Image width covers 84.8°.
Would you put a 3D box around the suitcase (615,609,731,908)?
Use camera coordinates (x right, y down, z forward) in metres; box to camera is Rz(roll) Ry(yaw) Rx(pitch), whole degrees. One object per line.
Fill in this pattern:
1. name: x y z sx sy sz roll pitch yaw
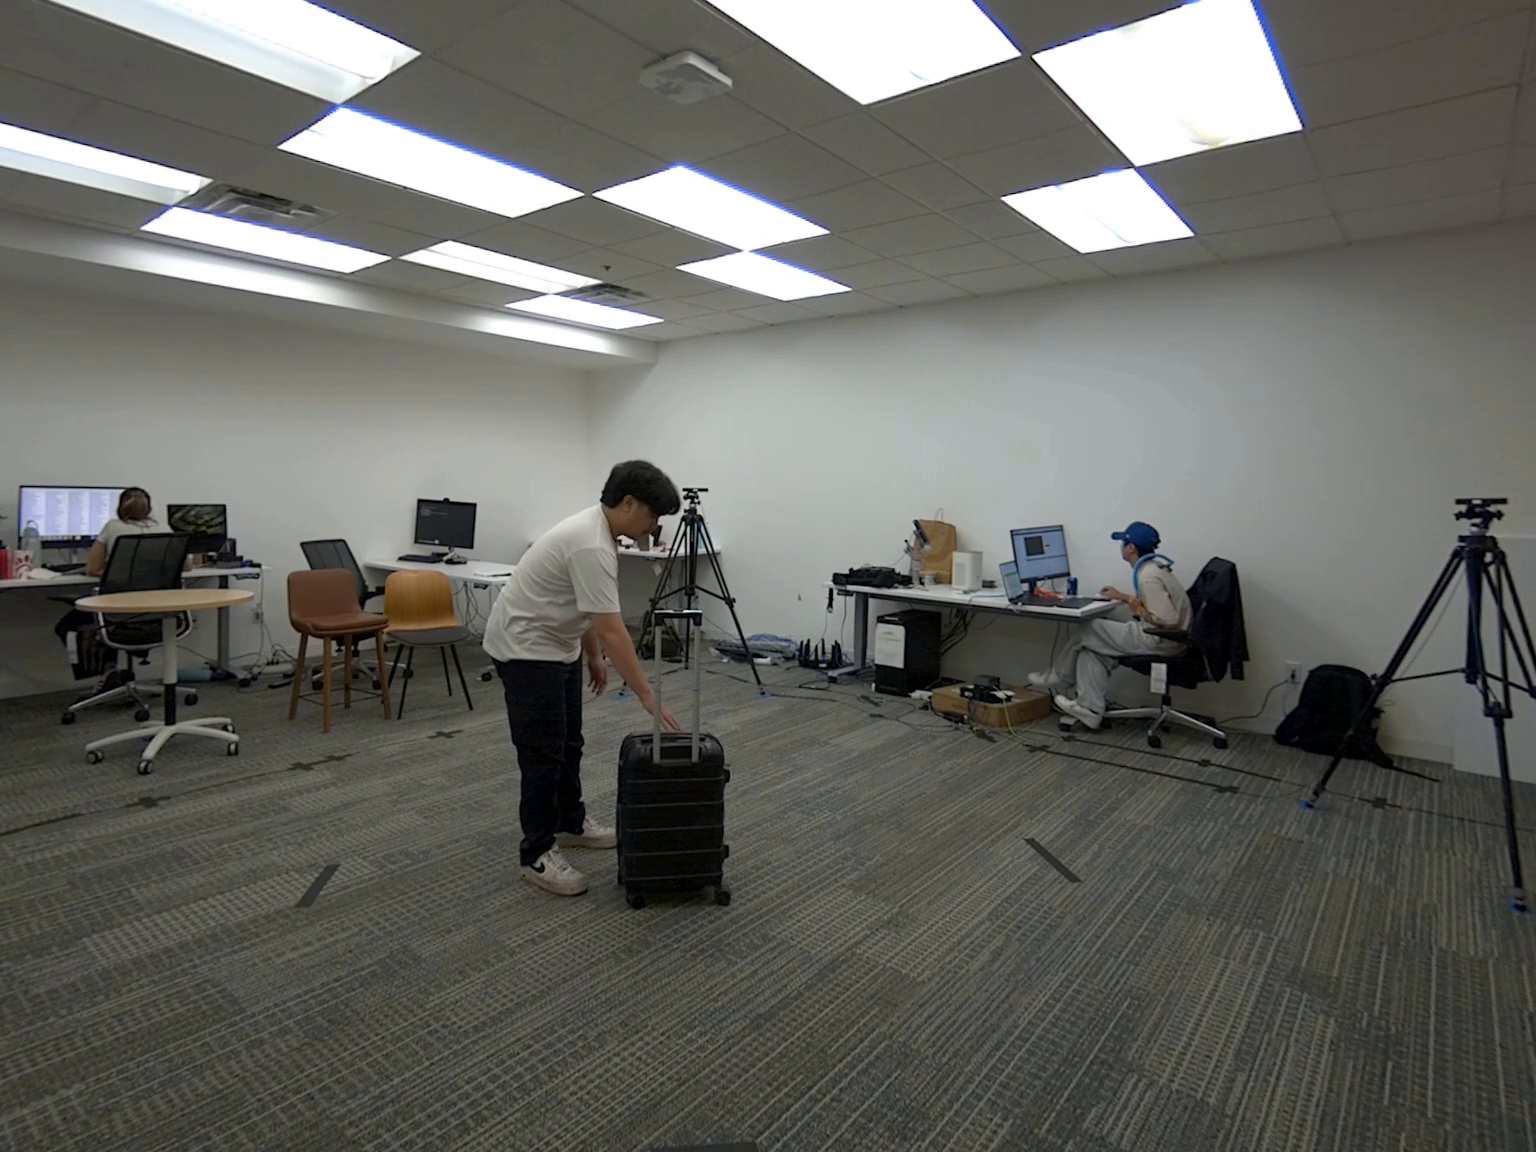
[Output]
1. suitcase: -0.341 0.611 2.915 0.380 0.979 0.259 0 -1 -10
